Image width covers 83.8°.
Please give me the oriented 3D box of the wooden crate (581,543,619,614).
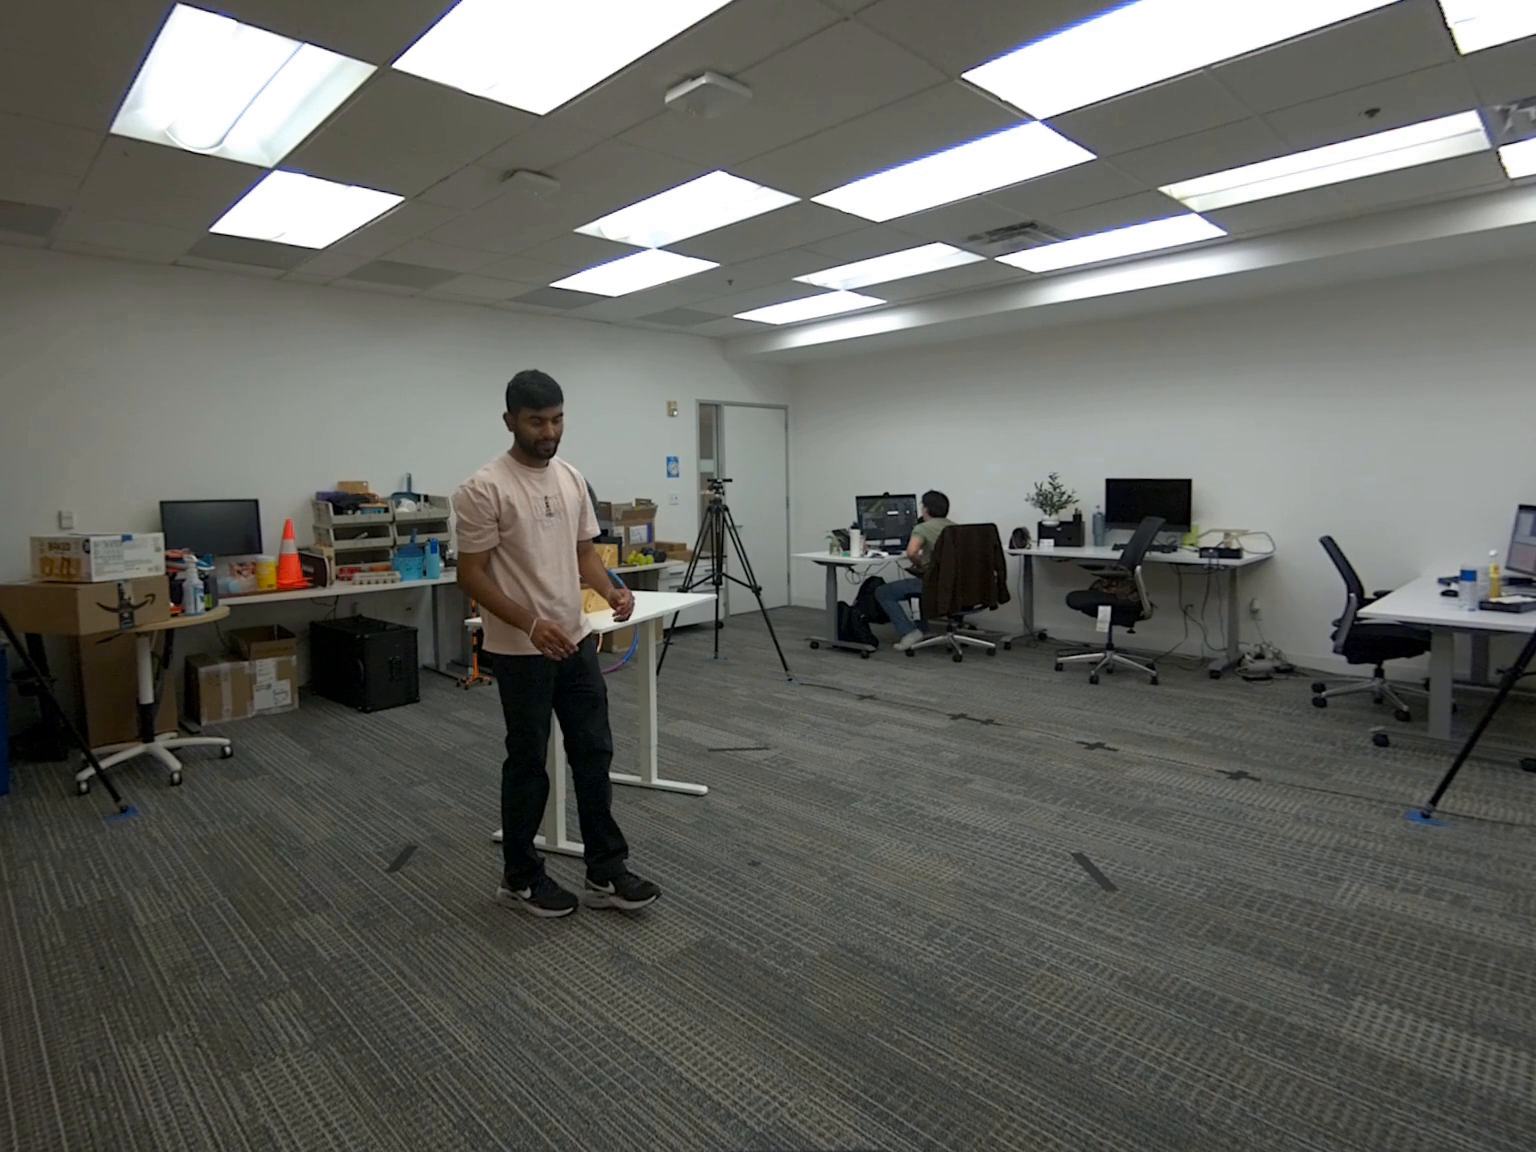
[{"bbox_3d":[-0.819,0.005,3.464,0.334,0.272,0.295,3,6,34],"label":"wooden crate"}]
